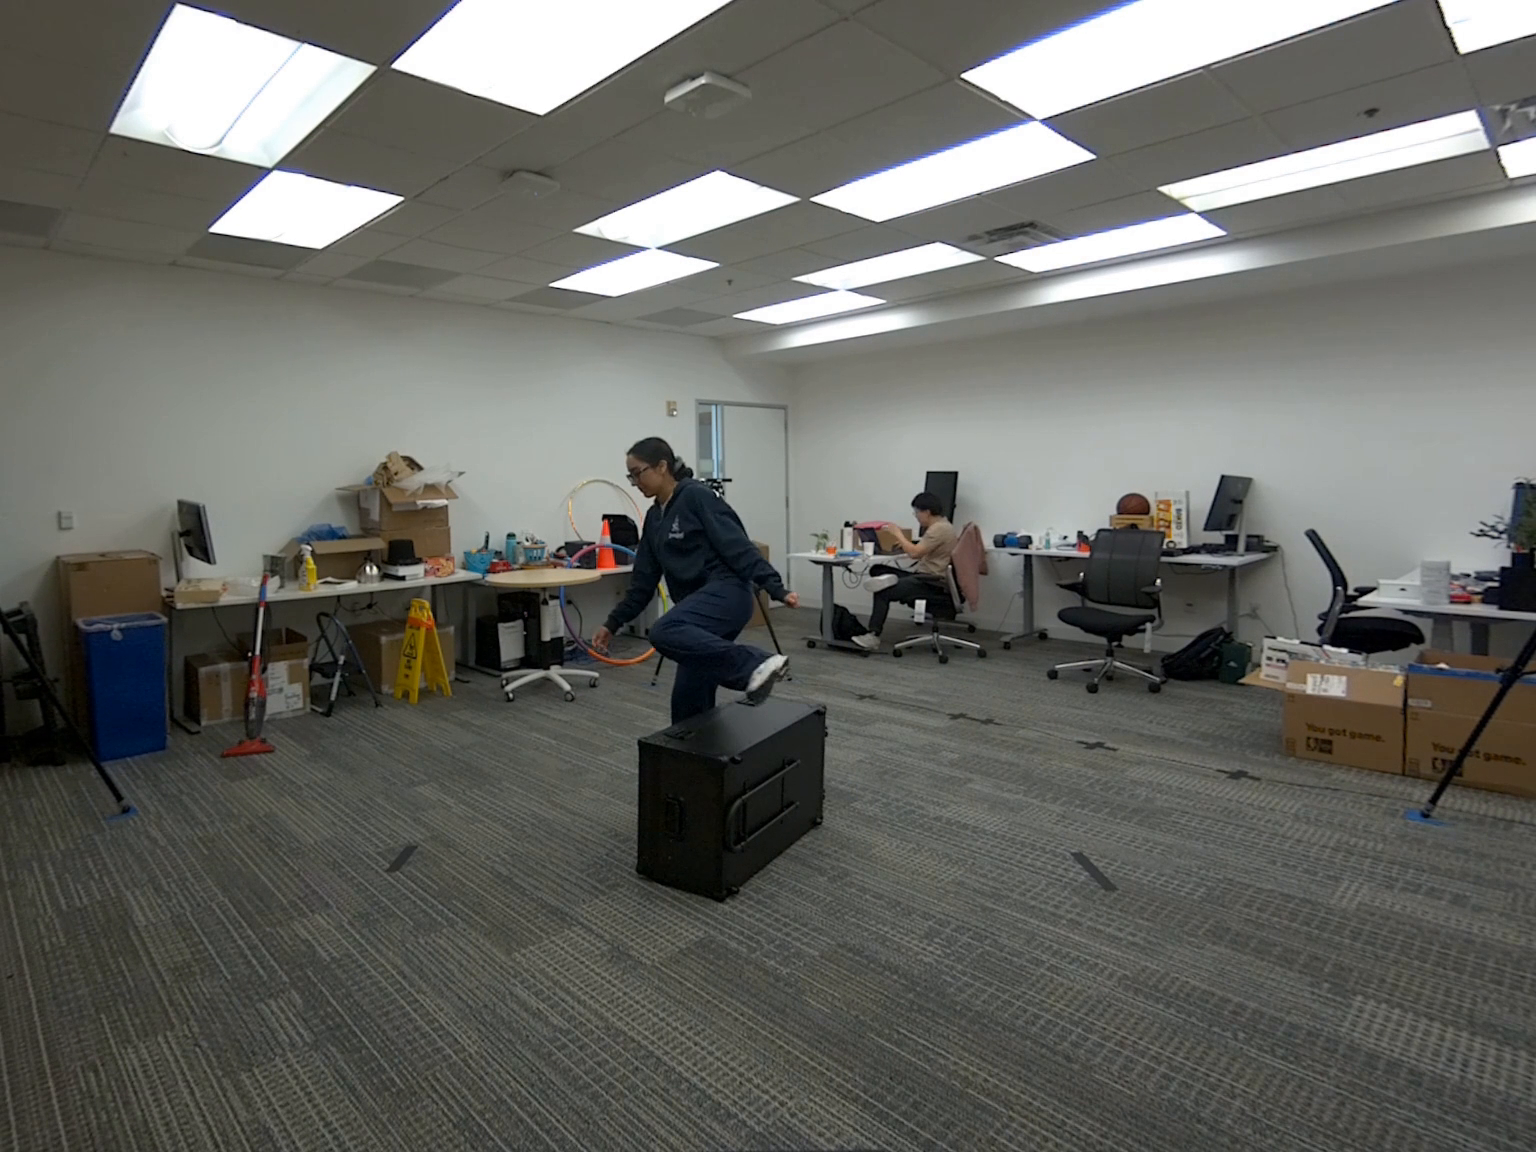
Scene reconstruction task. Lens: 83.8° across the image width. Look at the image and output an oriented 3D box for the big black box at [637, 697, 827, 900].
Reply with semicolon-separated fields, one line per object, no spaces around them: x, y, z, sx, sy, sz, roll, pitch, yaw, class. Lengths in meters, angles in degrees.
-0.085;0.773;3.230;0.407;0.519;0.843;4;7;30;big black box
